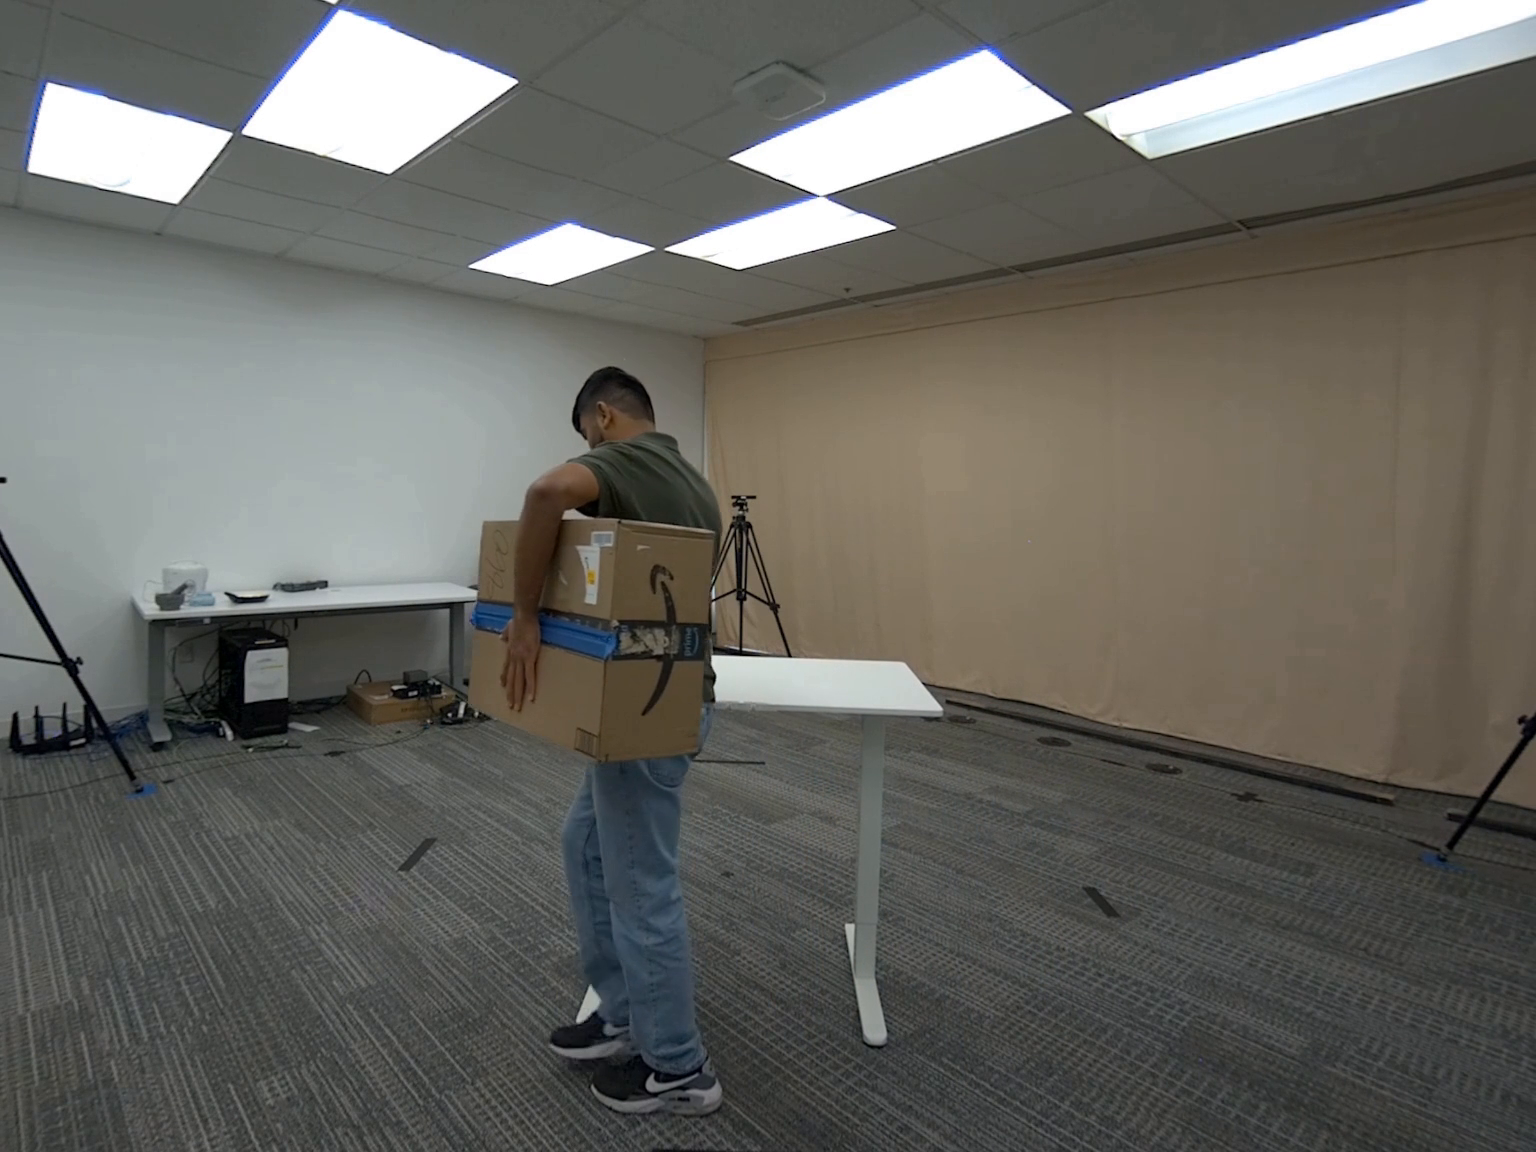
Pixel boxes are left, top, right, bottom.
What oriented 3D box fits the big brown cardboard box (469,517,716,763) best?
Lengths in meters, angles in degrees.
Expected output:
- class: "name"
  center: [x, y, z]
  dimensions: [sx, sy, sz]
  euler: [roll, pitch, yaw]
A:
- class: "big brown cardboard box"
  center: [-0.392, 0.108, 1.696]
  dimensions: [0.227, 0.418, 0.603]
  euler: [5, -1, -40]
